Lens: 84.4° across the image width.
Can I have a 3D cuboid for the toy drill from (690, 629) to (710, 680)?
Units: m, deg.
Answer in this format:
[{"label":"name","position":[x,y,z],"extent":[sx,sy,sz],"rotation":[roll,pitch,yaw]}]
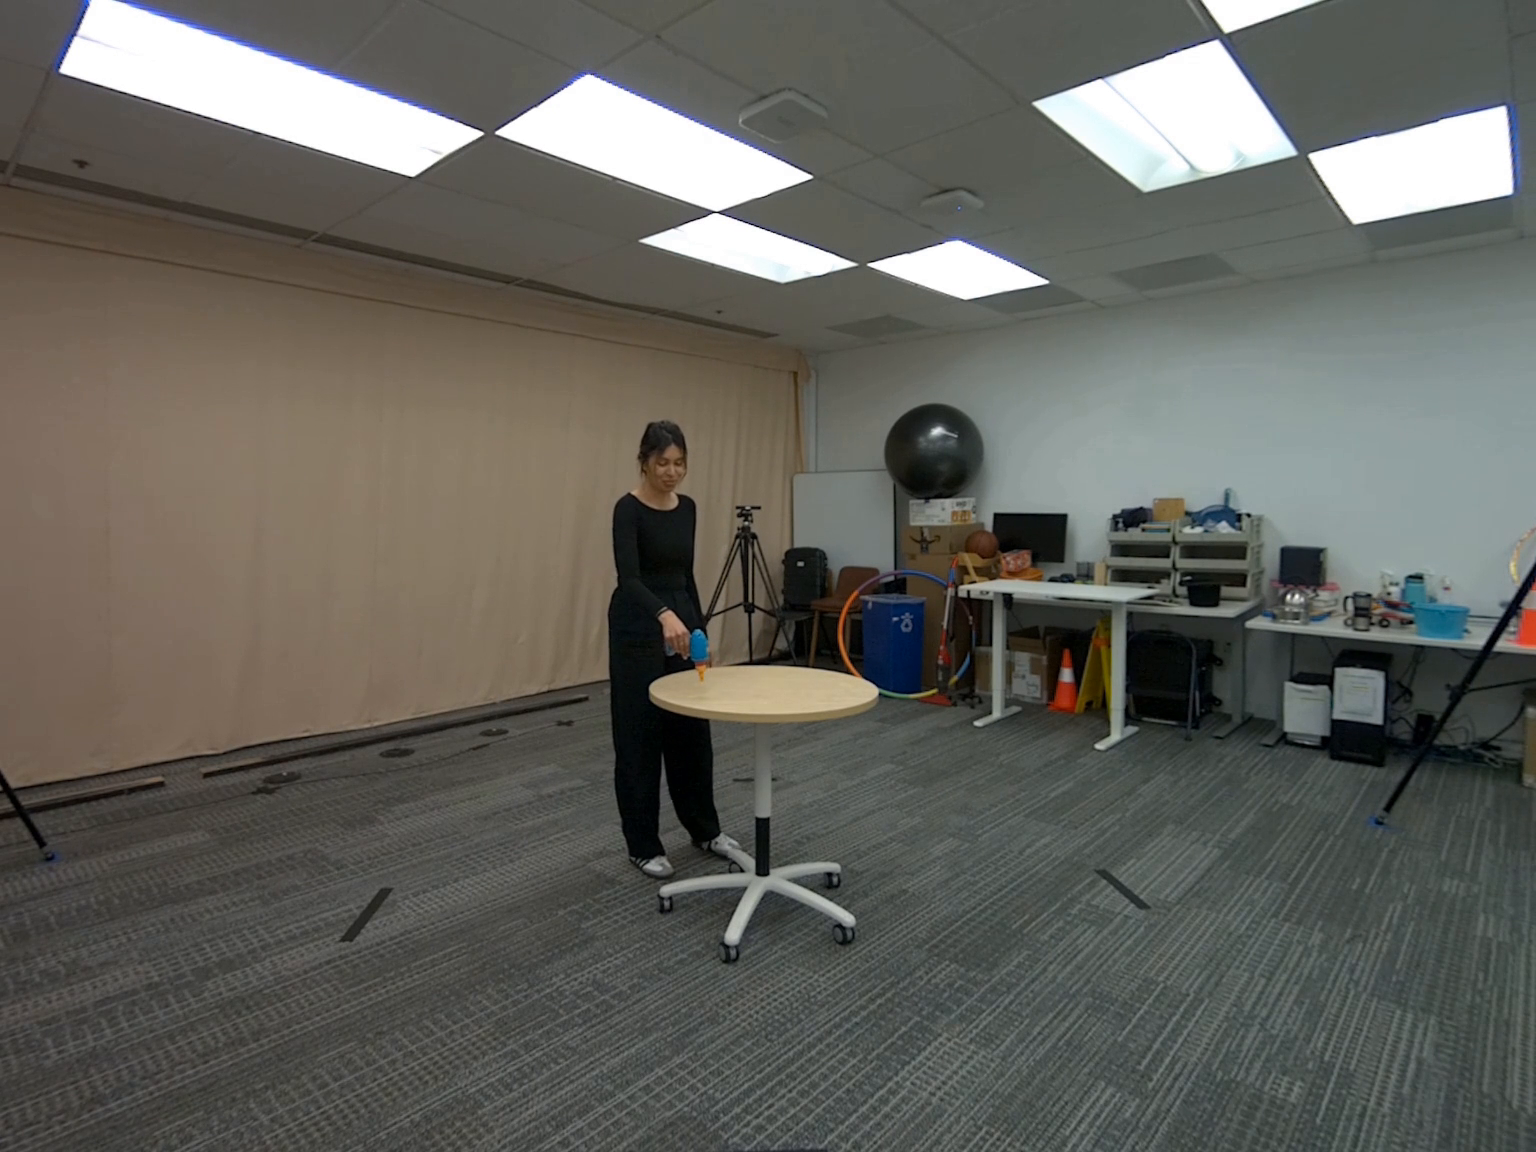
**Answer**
[{"label":"toy drill","position":[-0.254,0.259,2.703],"extent":[0.149,0.169,0.060],"rotation":[-2,6,22]}]
